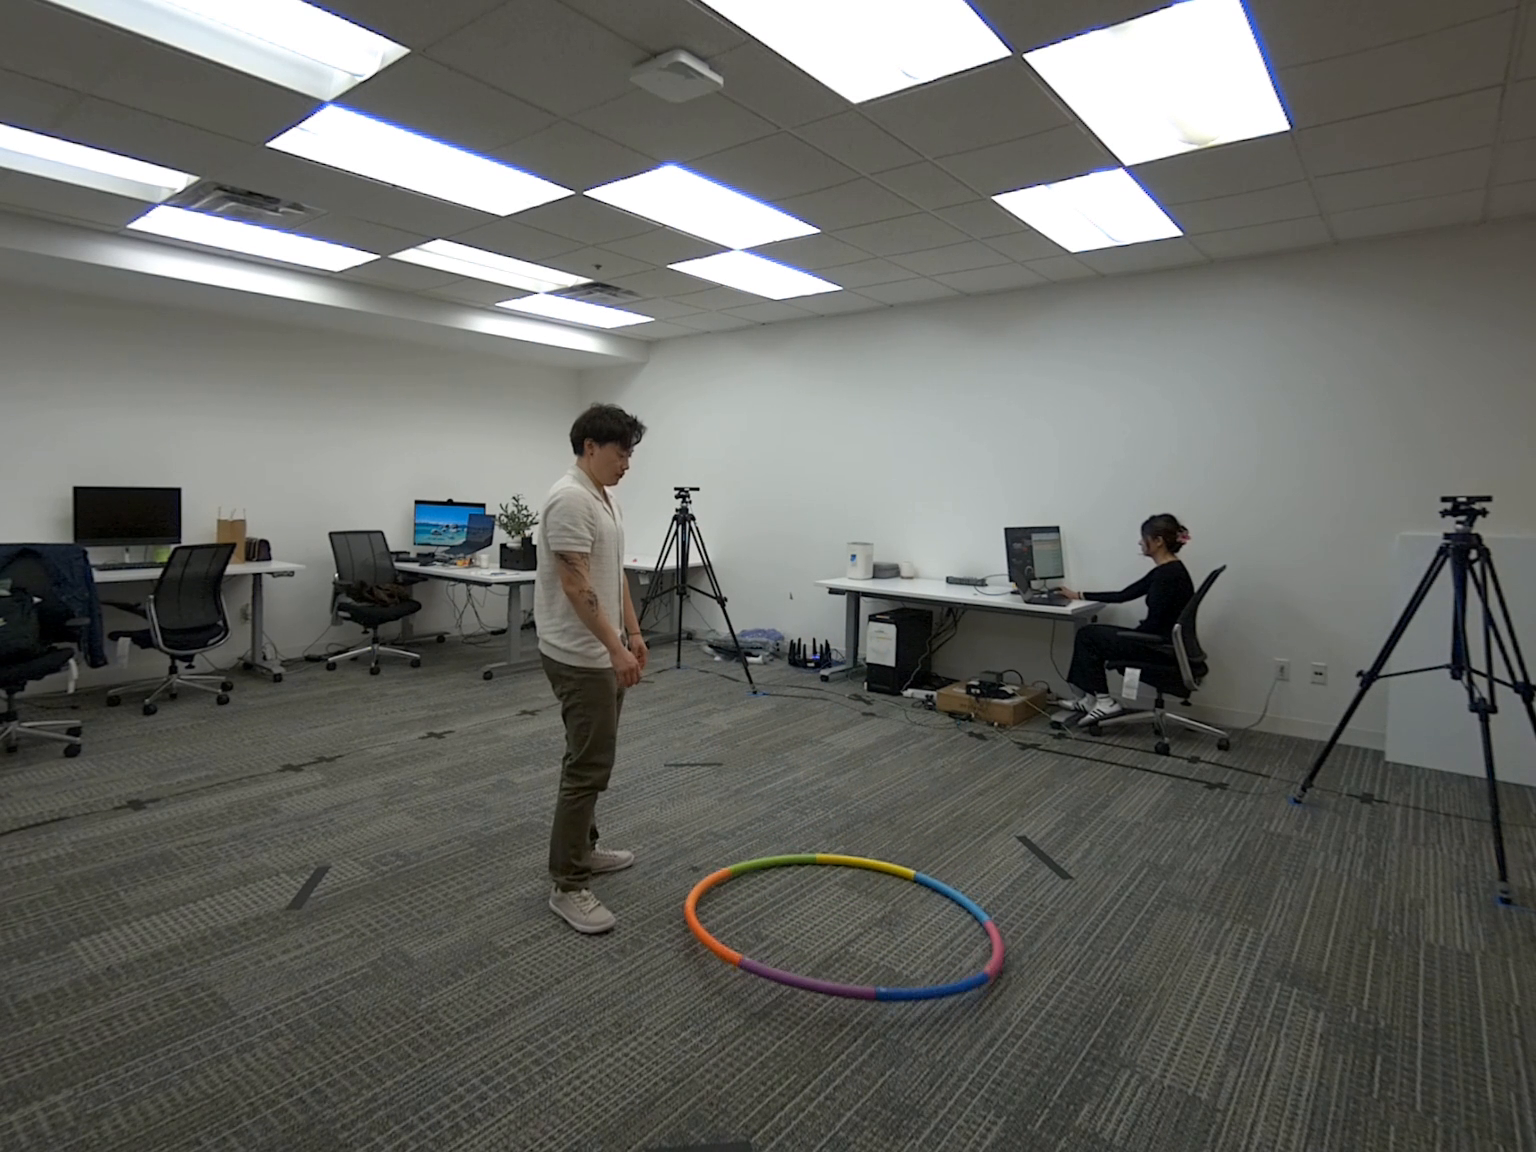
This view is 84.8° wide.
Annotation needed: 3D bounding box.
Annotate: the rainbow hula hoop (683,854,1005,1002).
[{"bbox_3d":[0.218,1.060,2.697,0.978,0.035,0.982,1,4,-2],"label":"rainbow hula hoop"}]
